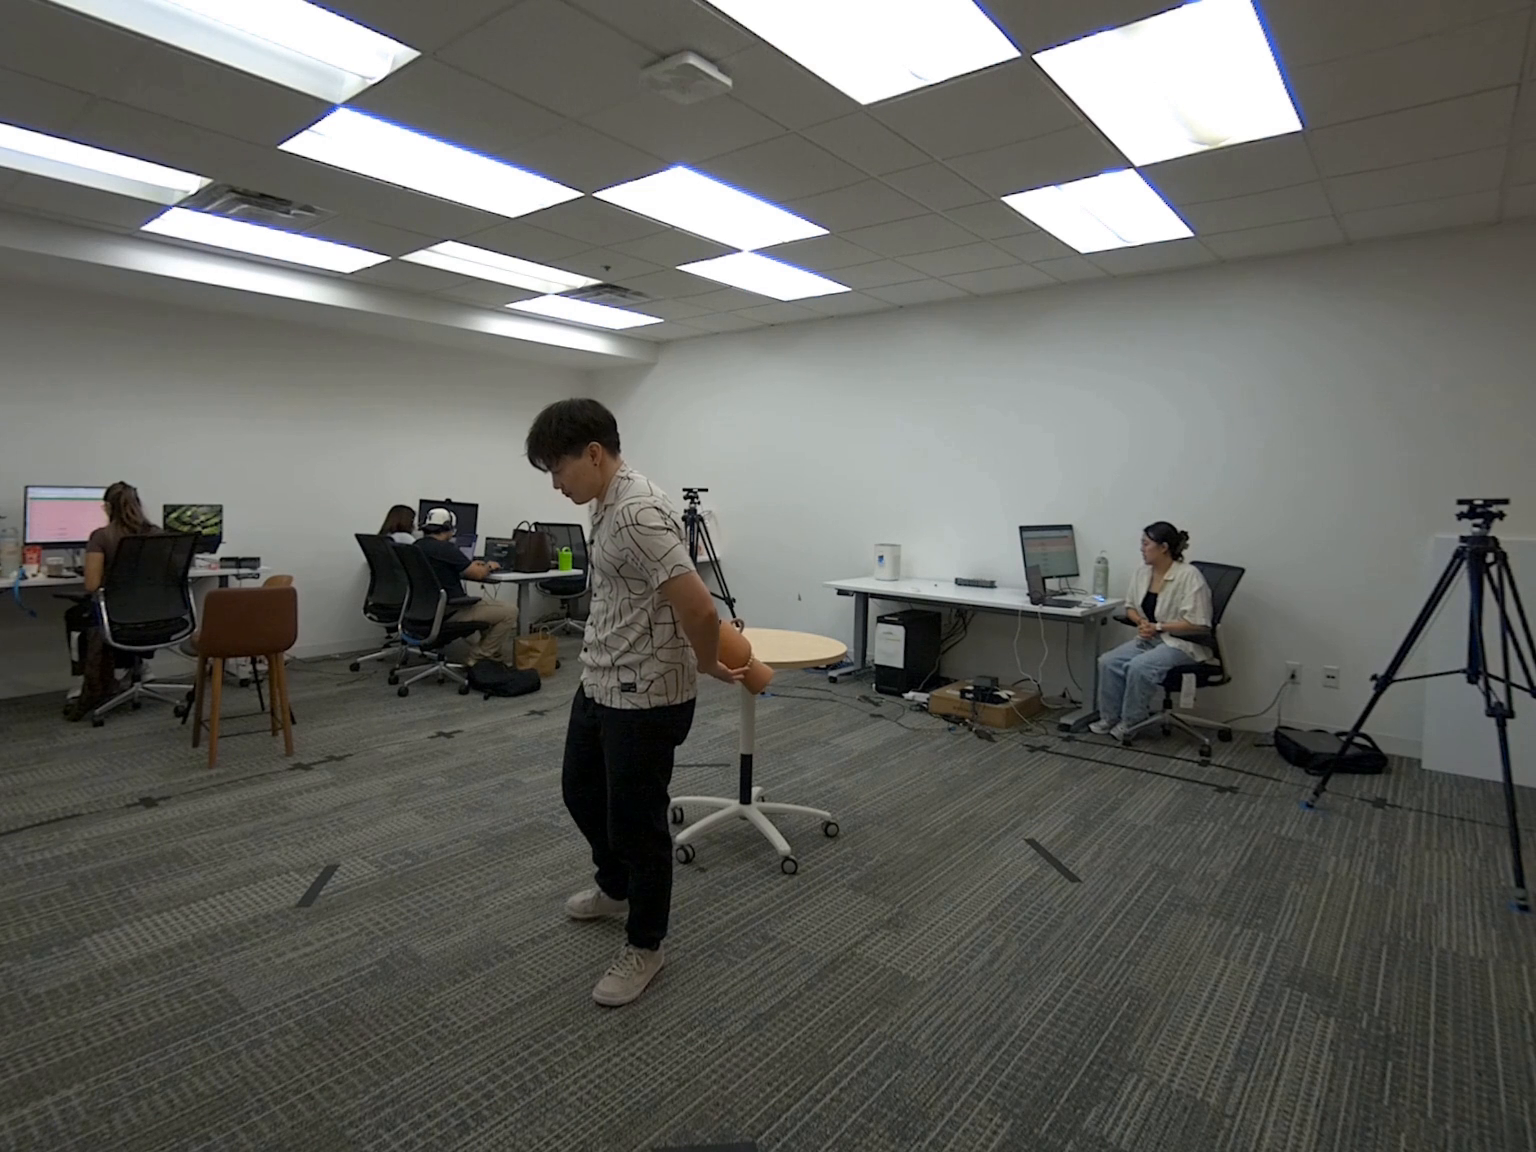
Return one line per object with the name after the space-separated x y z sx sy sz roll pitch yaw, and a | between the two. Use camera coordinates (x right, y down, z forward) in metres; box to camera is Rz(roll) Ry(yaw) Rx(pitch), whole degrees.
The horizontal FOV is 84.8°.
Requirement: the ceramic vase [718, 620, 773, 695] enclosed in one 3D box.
-0.105 0.245 2.503 0.159 0.215 0.137 -41 17 27 | ceramic vase
